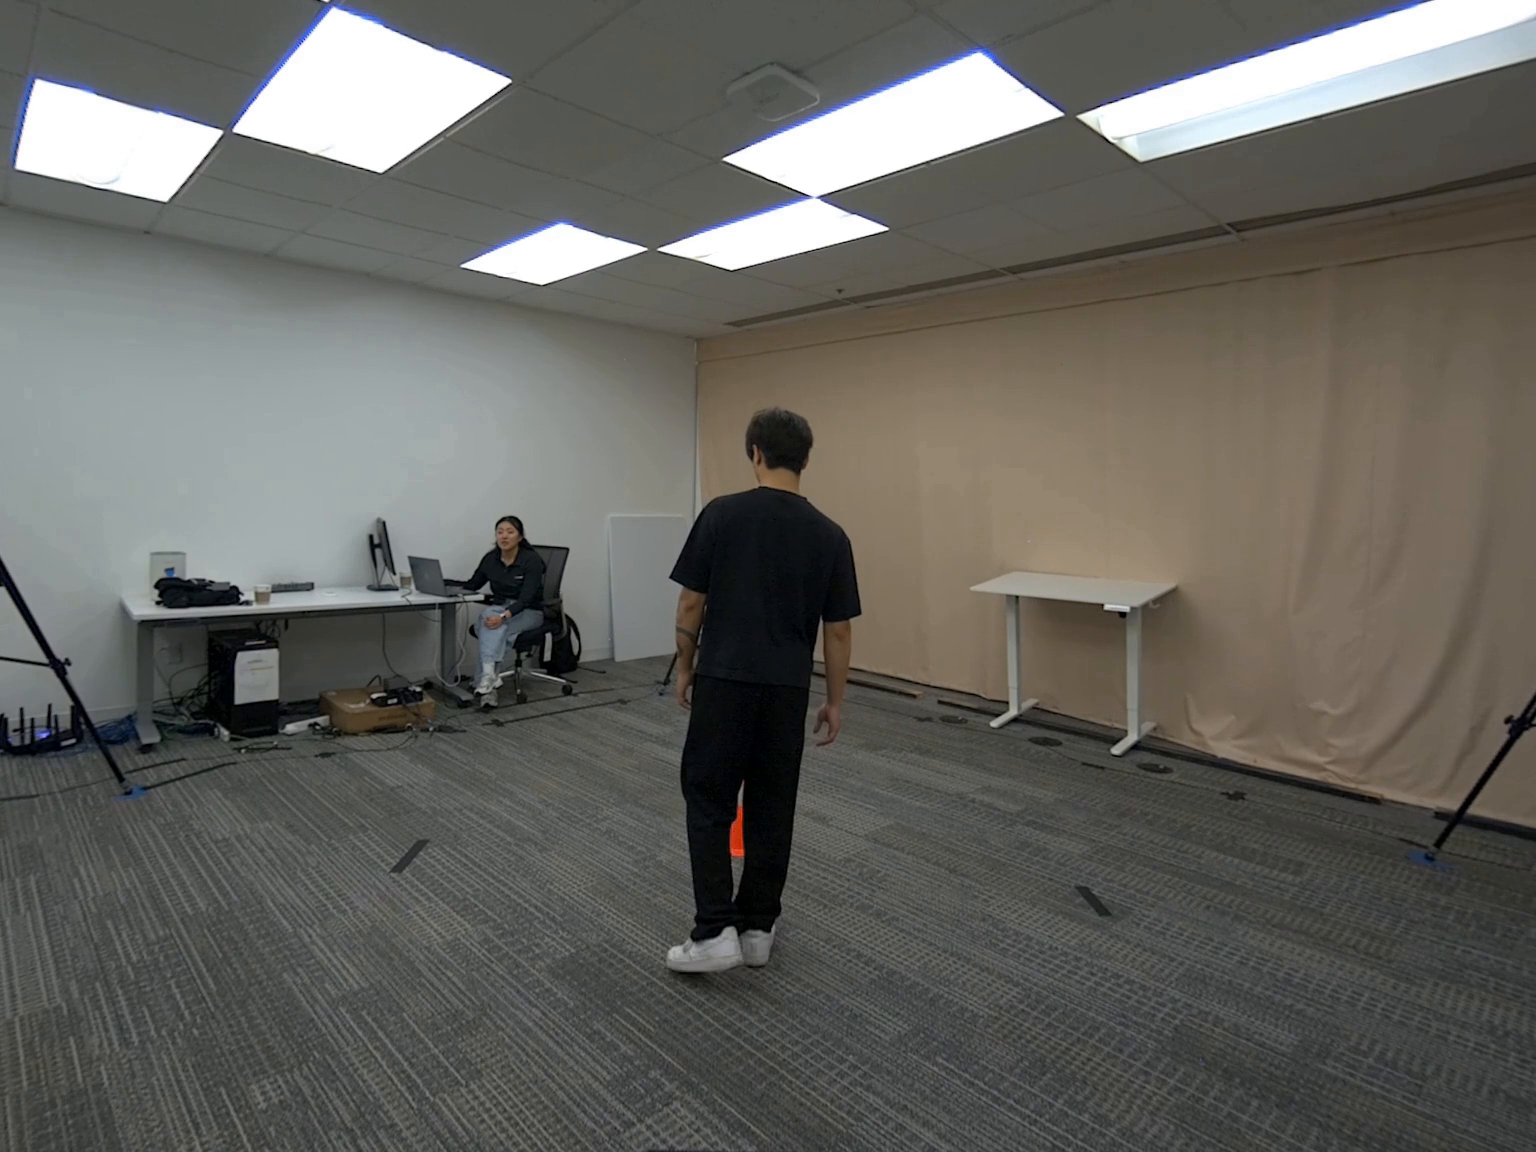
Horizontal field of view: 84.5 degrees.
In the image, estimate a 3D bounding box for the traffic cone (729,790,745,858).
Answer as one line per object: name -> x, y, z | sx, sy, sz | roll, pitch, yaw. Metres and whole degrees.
traffic cone -> -0.086, 0.904, 3.394 | 0.201, 0.383, 0.208 | 2, 4, -30
